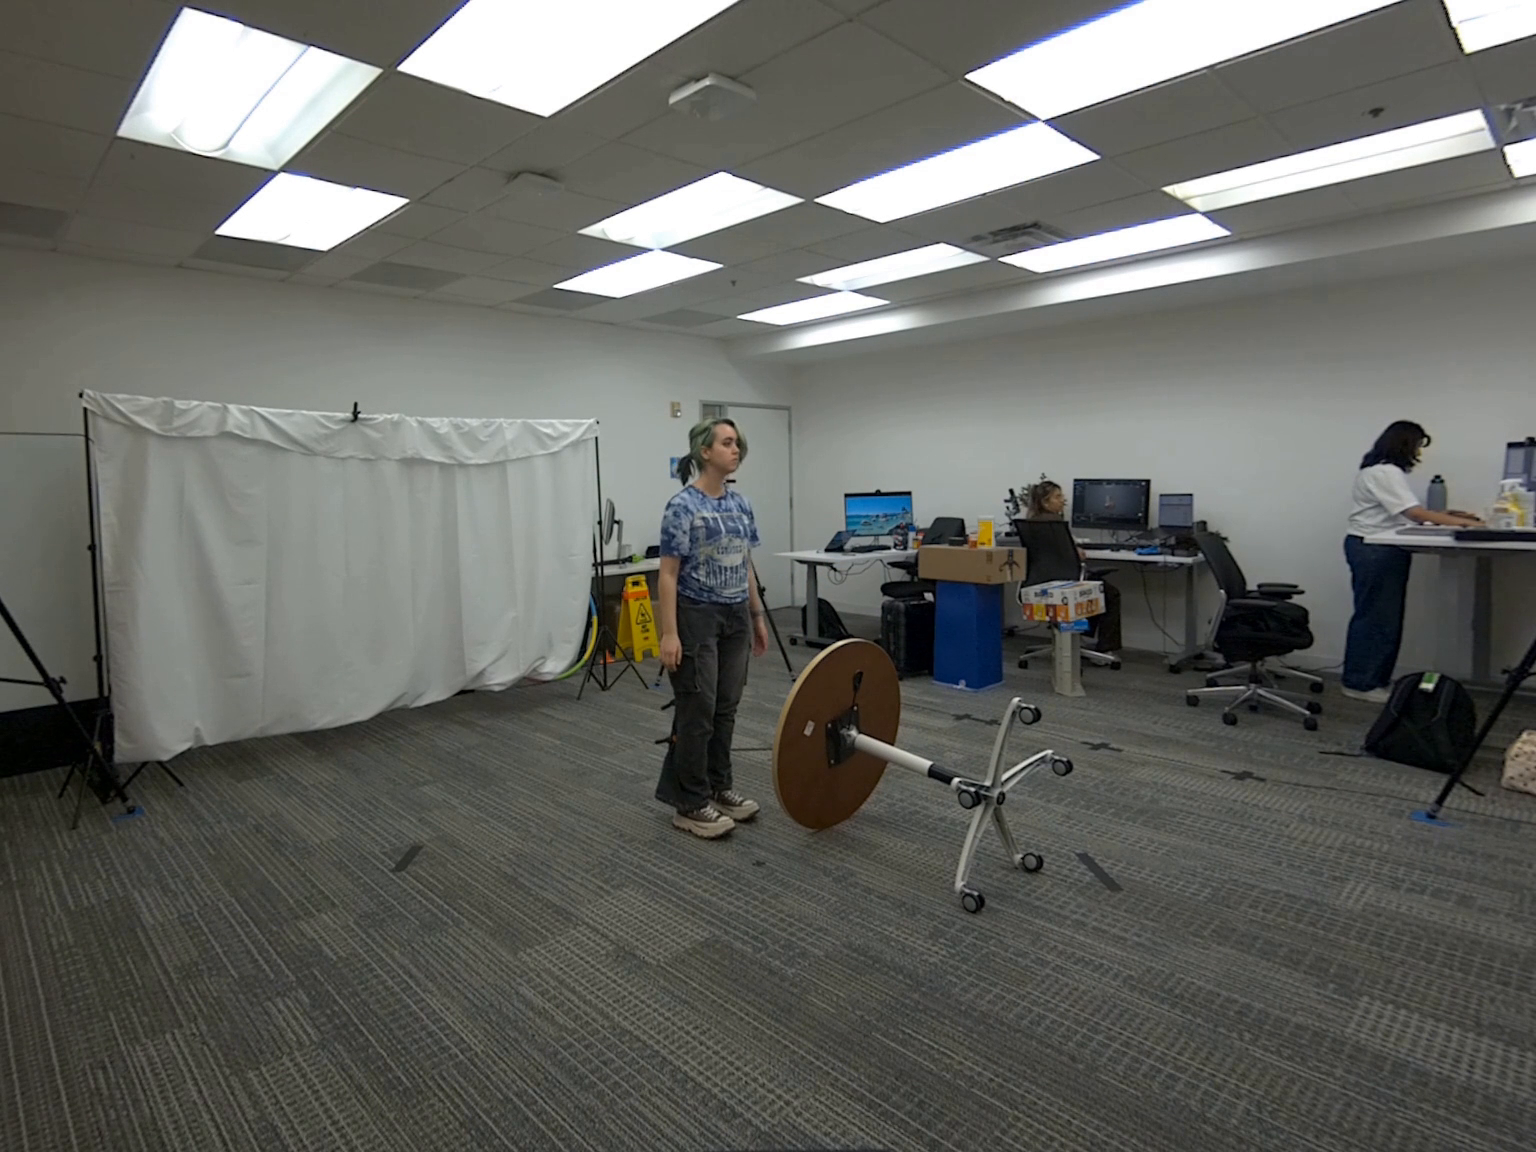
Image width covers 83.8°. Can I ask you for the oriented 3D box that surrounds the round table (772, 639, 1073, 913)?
[{"bbox_3d":[0.565,0.698,3.117,0.744,0.758,0.821,-5,13,-44],"label":"round table"}]
